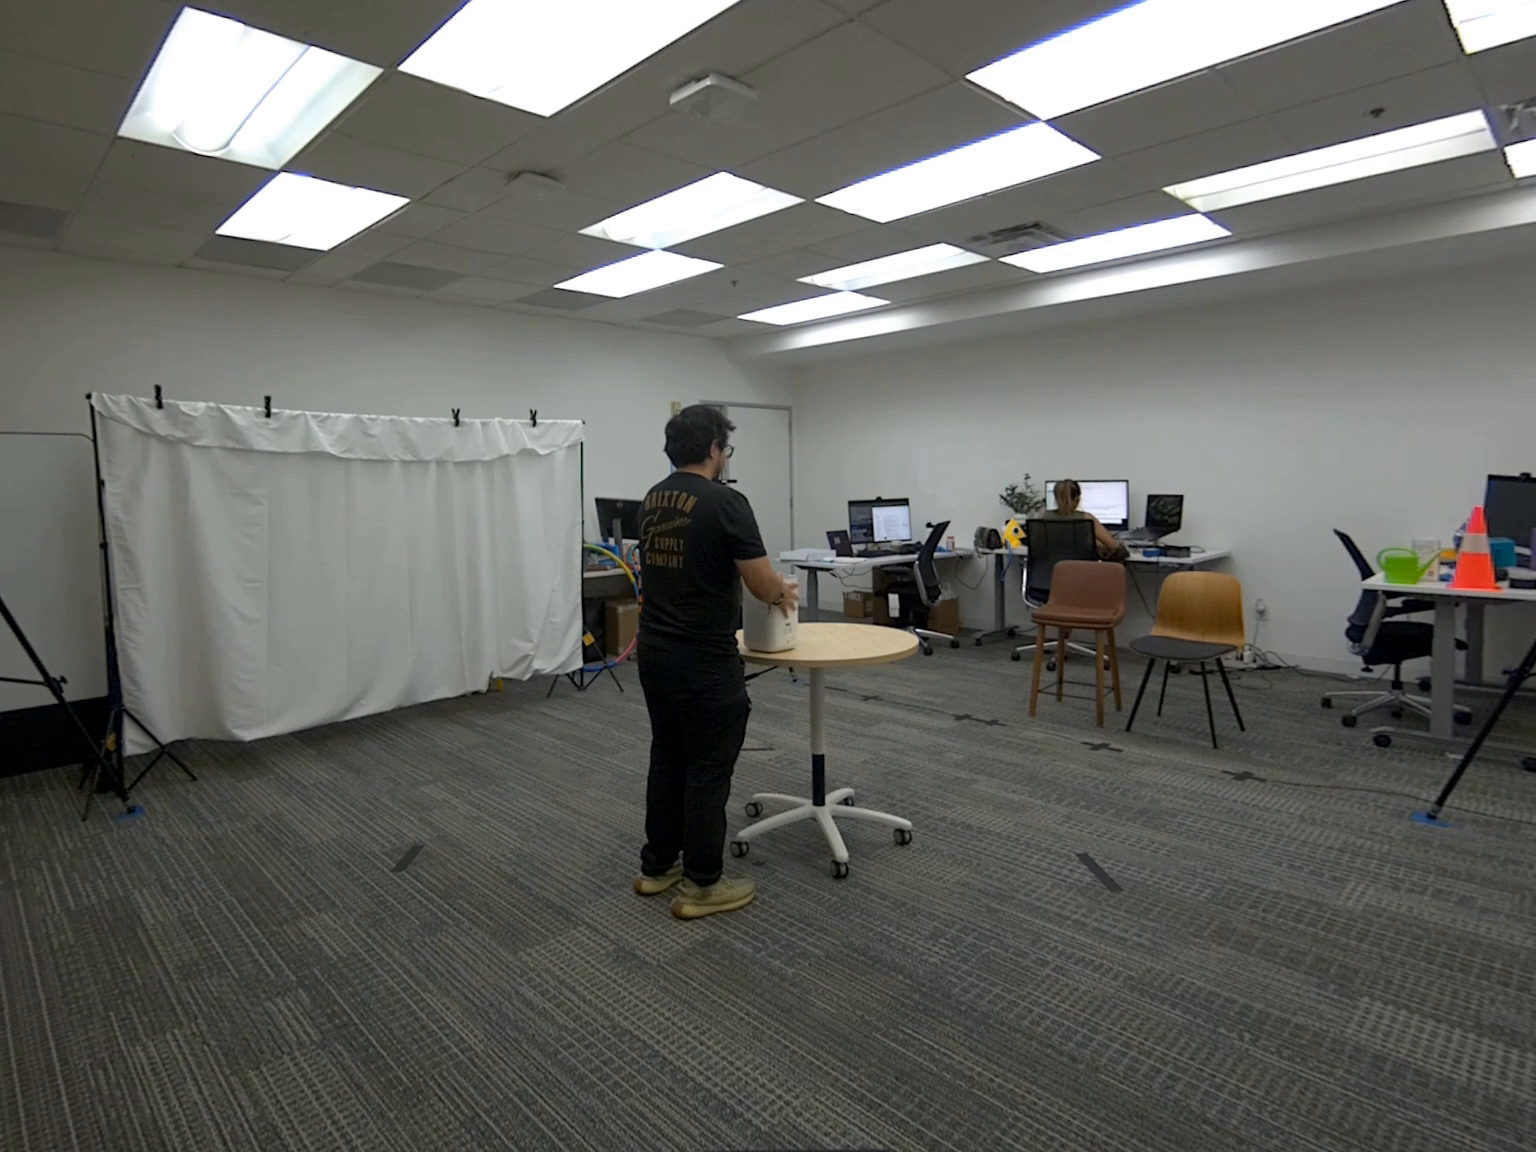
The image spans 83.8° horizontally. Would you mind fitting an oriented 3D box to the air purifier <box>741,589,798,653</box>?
[{"bbox_3d":[0.010,0.130,3.088,0.177,0.264,0.166,2,5,43],"label":"air purifier"}]
